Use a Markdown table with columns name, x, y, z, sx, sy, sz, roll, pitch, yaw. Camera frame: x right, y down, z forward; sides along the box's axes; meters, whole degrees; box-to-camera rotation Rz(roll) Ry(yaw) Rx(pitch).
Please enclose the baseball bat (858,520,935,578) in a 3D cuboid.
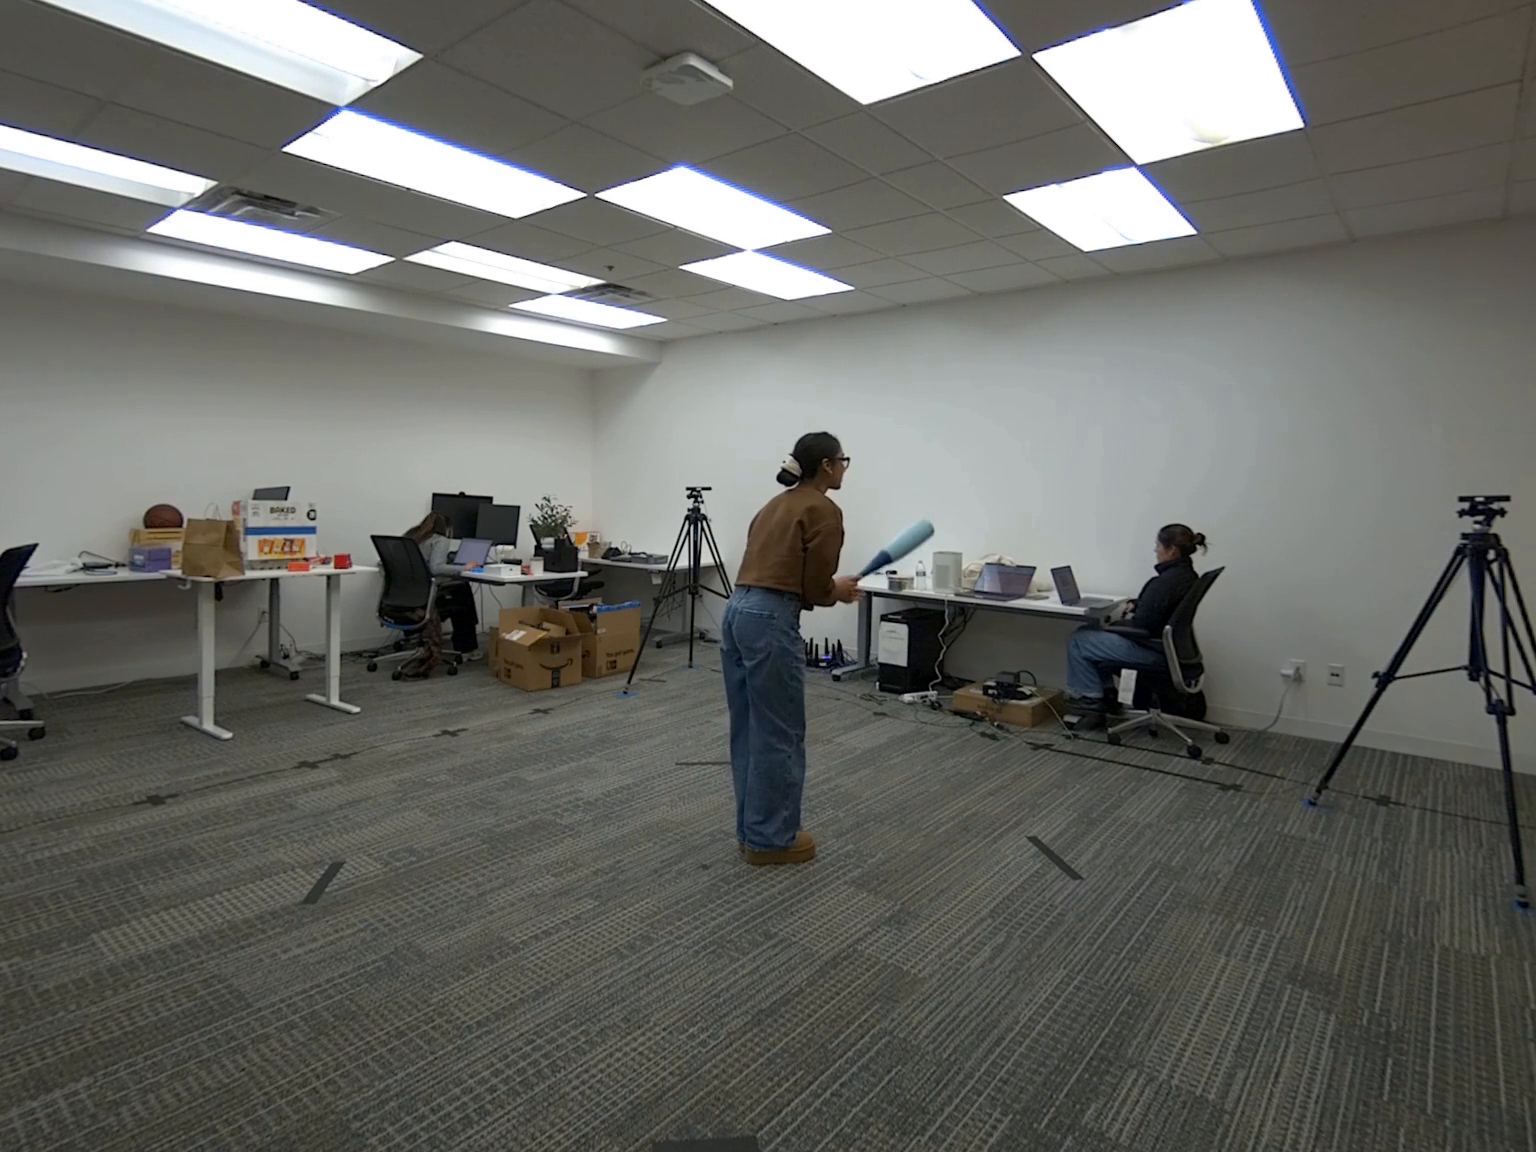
| name | x | y | z | sx | sy | sz | roll | pitch | yaw |
| --- | --- | --- | --- | --- | --- | --- | --- | --- | --- |
| baseball bat | 0.440 | -0.043 | 3.418 | 0.539 | 0.087 | 0.091 | -35 | 19 | -21 |
